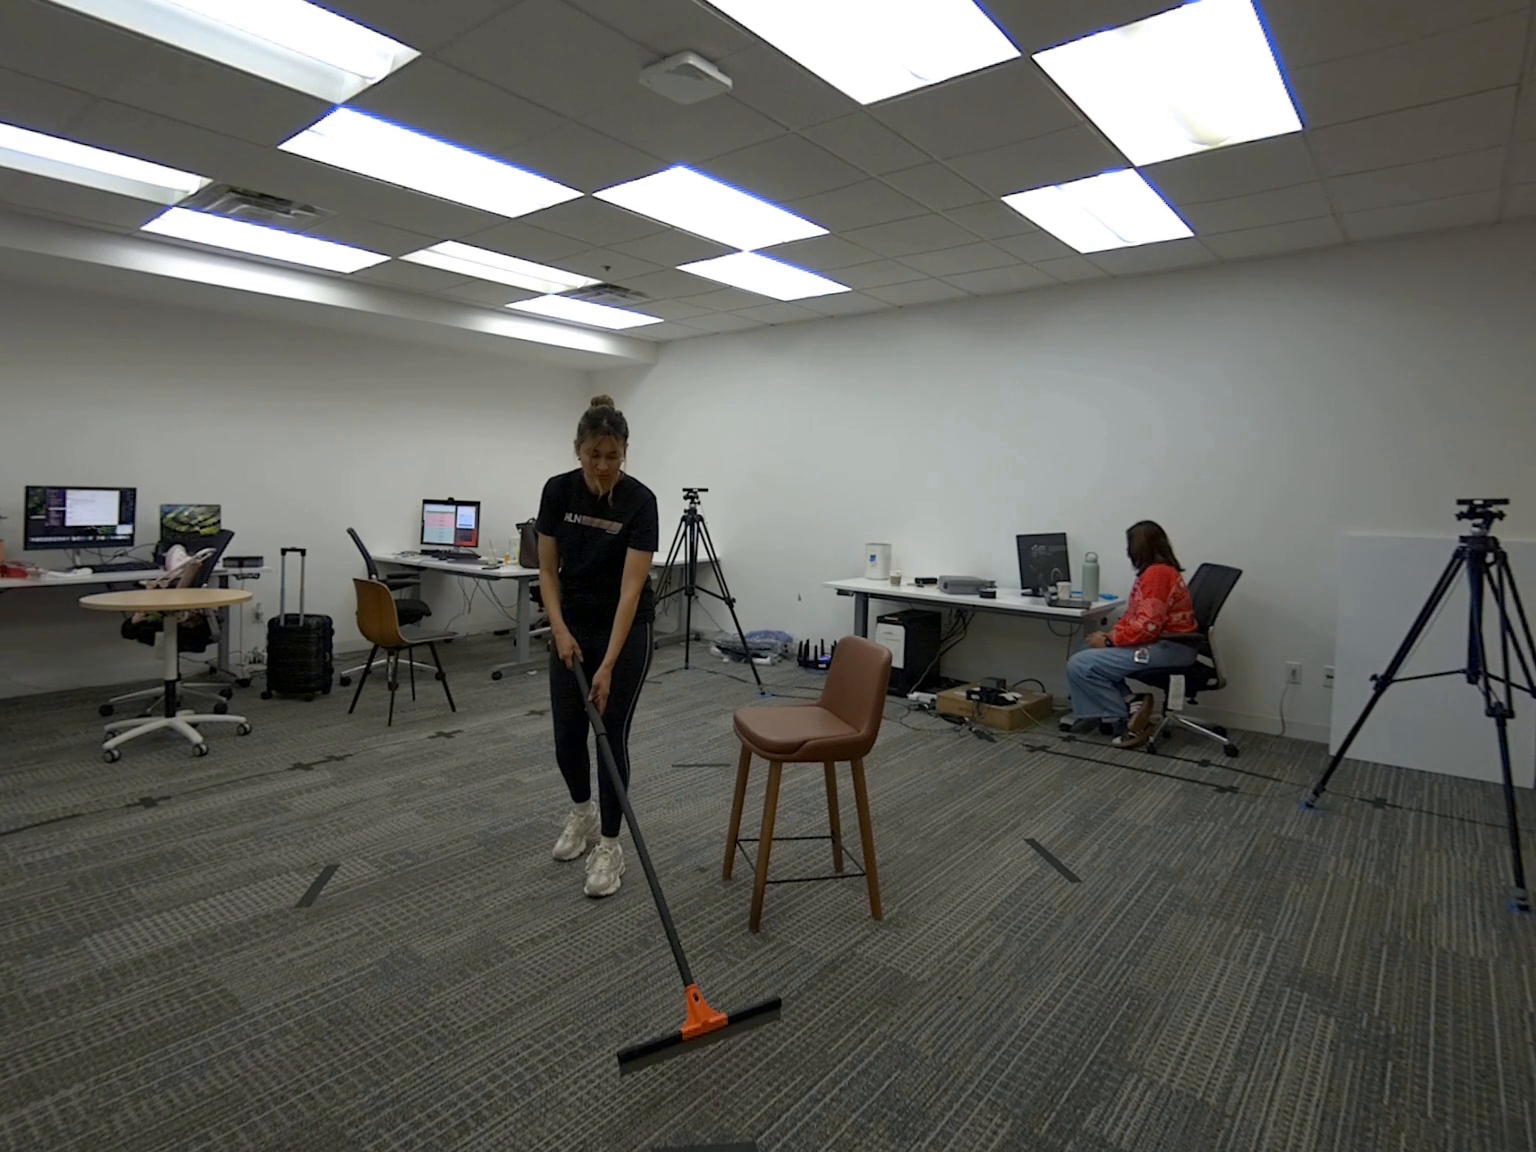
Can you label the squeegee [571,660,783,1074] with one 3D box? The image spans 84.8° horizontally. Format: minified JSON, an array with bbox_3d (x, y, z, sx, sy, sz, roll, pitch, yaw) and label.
[{"bbox_3d":[-0.469,0.568,2.505,0.427,0.052,1.600,-5,45,-29],"label":"squeegee"}]
